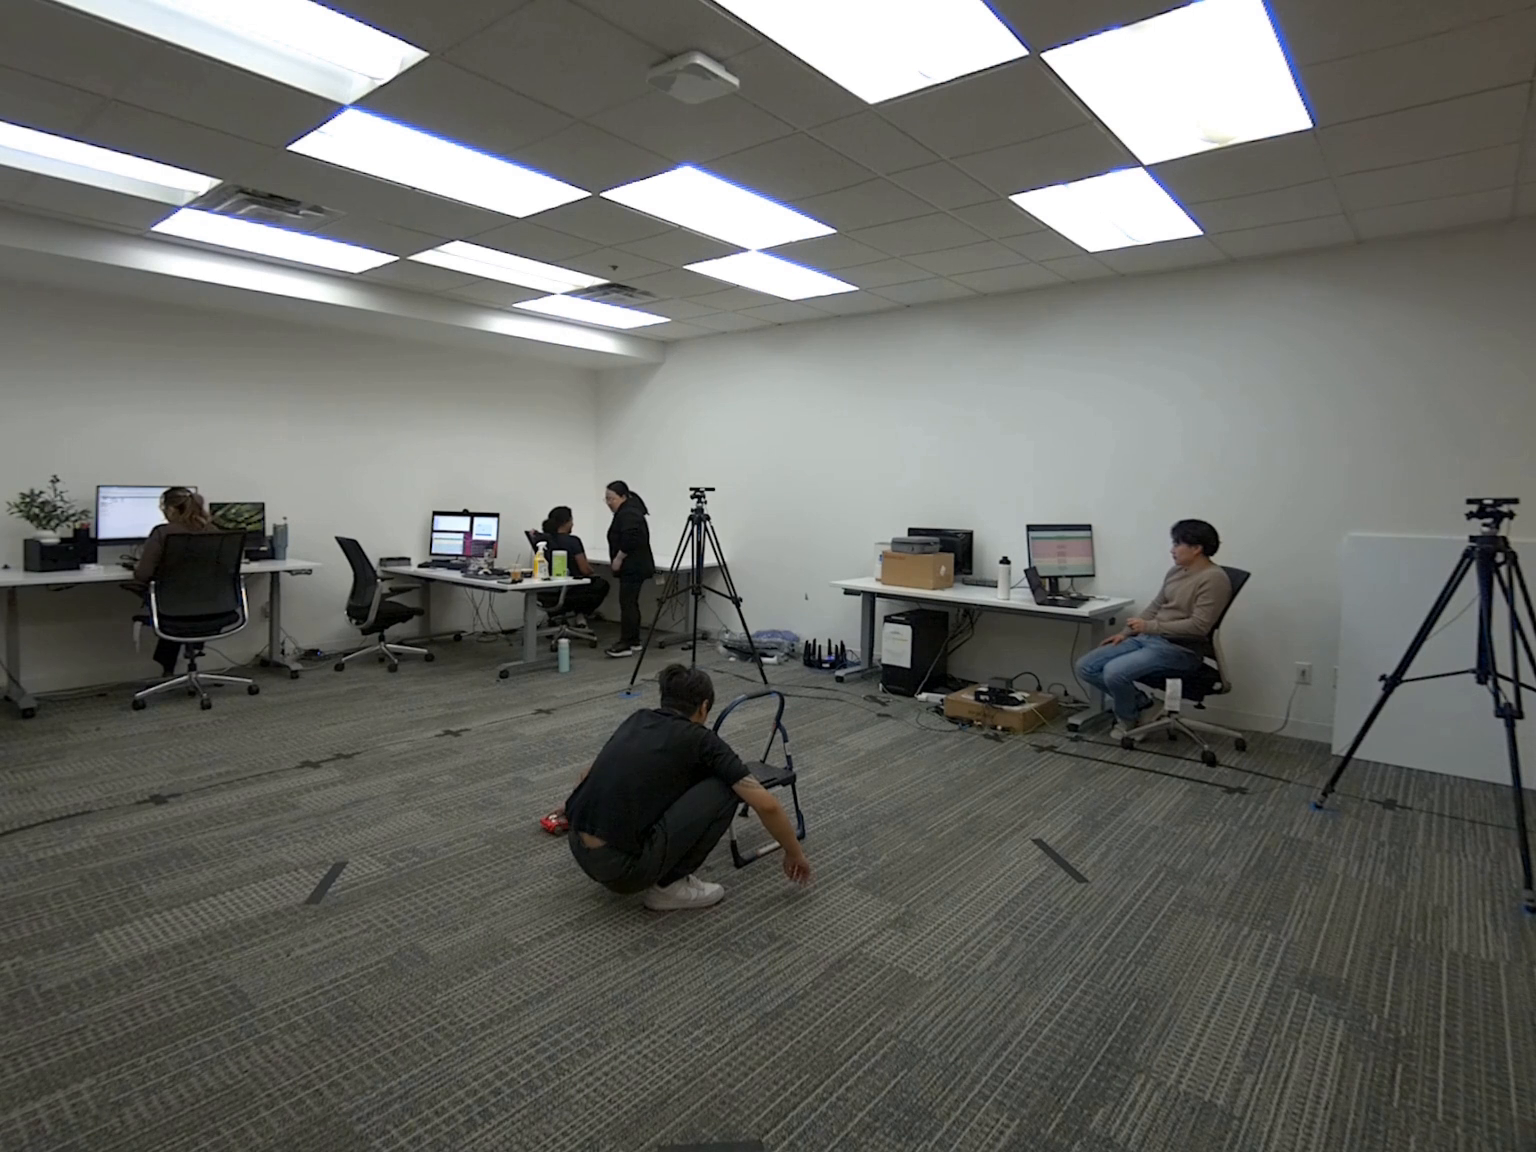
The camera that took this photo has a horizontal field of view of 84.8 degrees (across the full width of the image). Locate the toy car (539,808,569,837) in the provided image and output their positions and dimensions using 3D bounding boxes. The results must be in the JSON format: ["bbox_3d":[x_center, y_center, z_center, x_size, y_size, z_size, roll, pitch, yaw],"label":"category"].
[{"bbox_3d":[-0.796,0.986,3.490,0.249,0.082,0.134,-17,12,-38],"label":"toy car"}]
